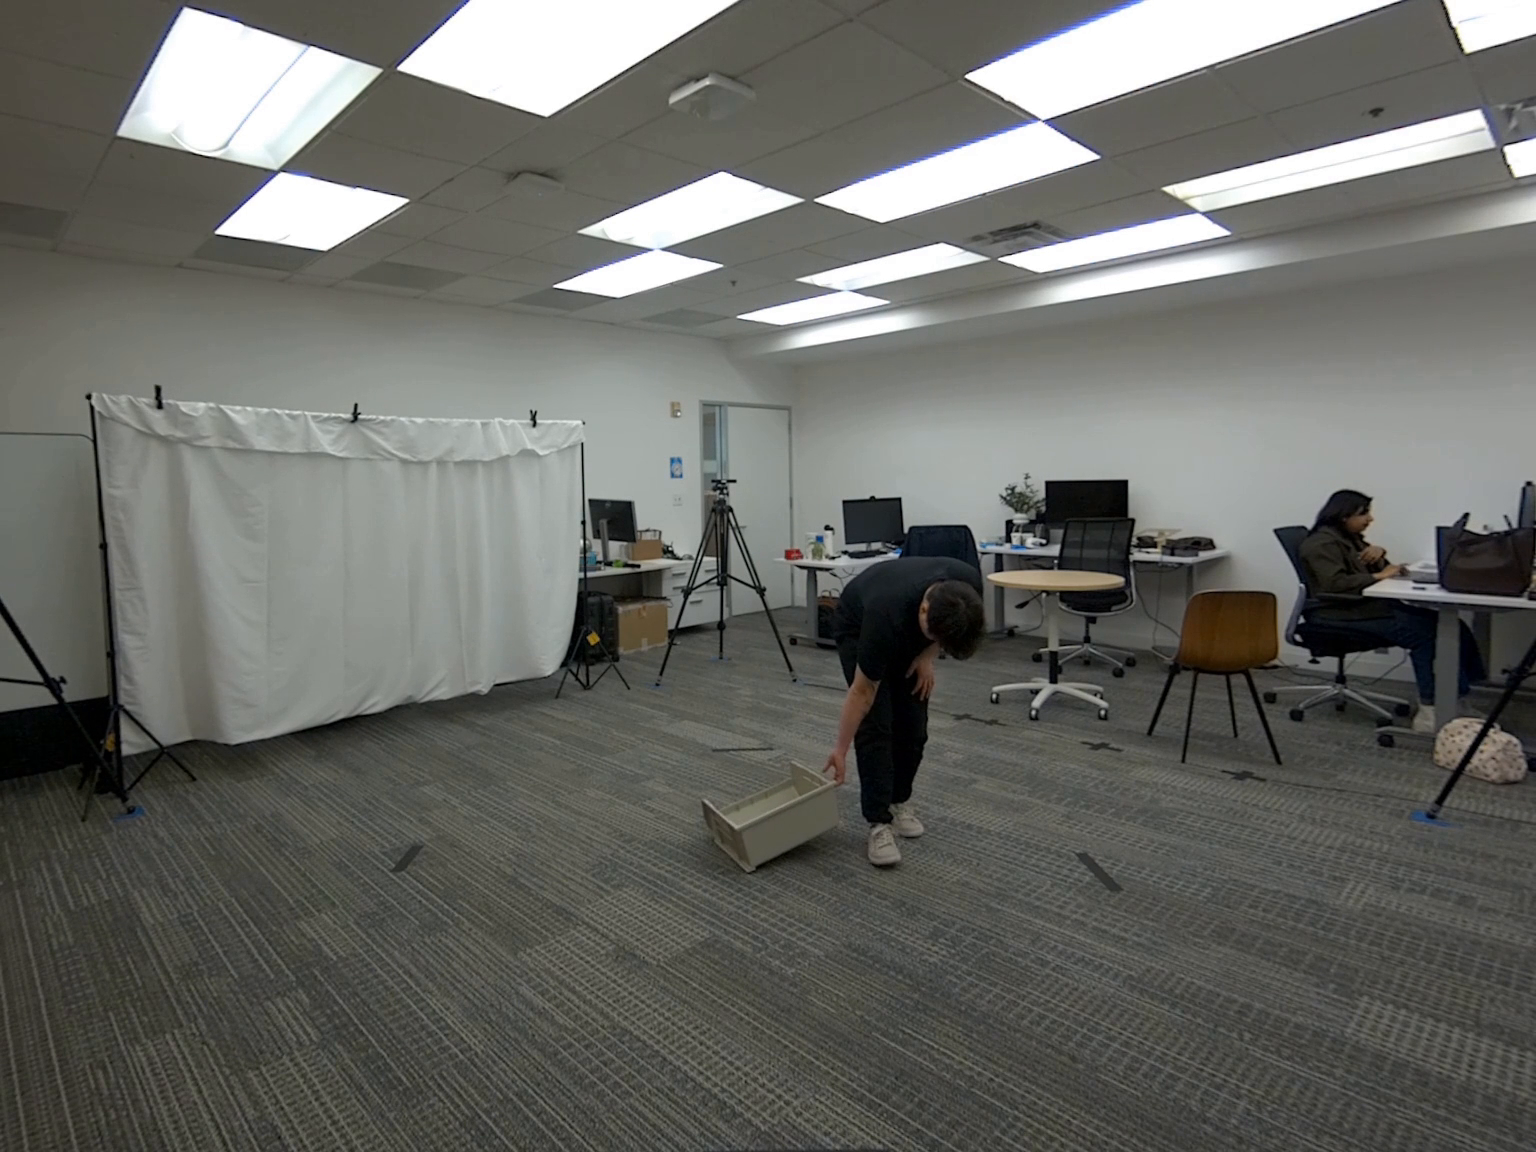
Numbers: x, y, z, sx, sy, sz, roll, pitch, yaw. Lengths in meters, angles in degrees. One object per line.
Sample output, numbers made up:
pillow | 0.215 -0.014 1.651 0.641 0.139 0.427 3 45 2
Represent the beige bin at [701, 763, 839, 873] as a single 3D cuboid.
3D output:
beige bin | 0.009 0.887 3.244 0.416 0.187 0.387 -18 13 -23
